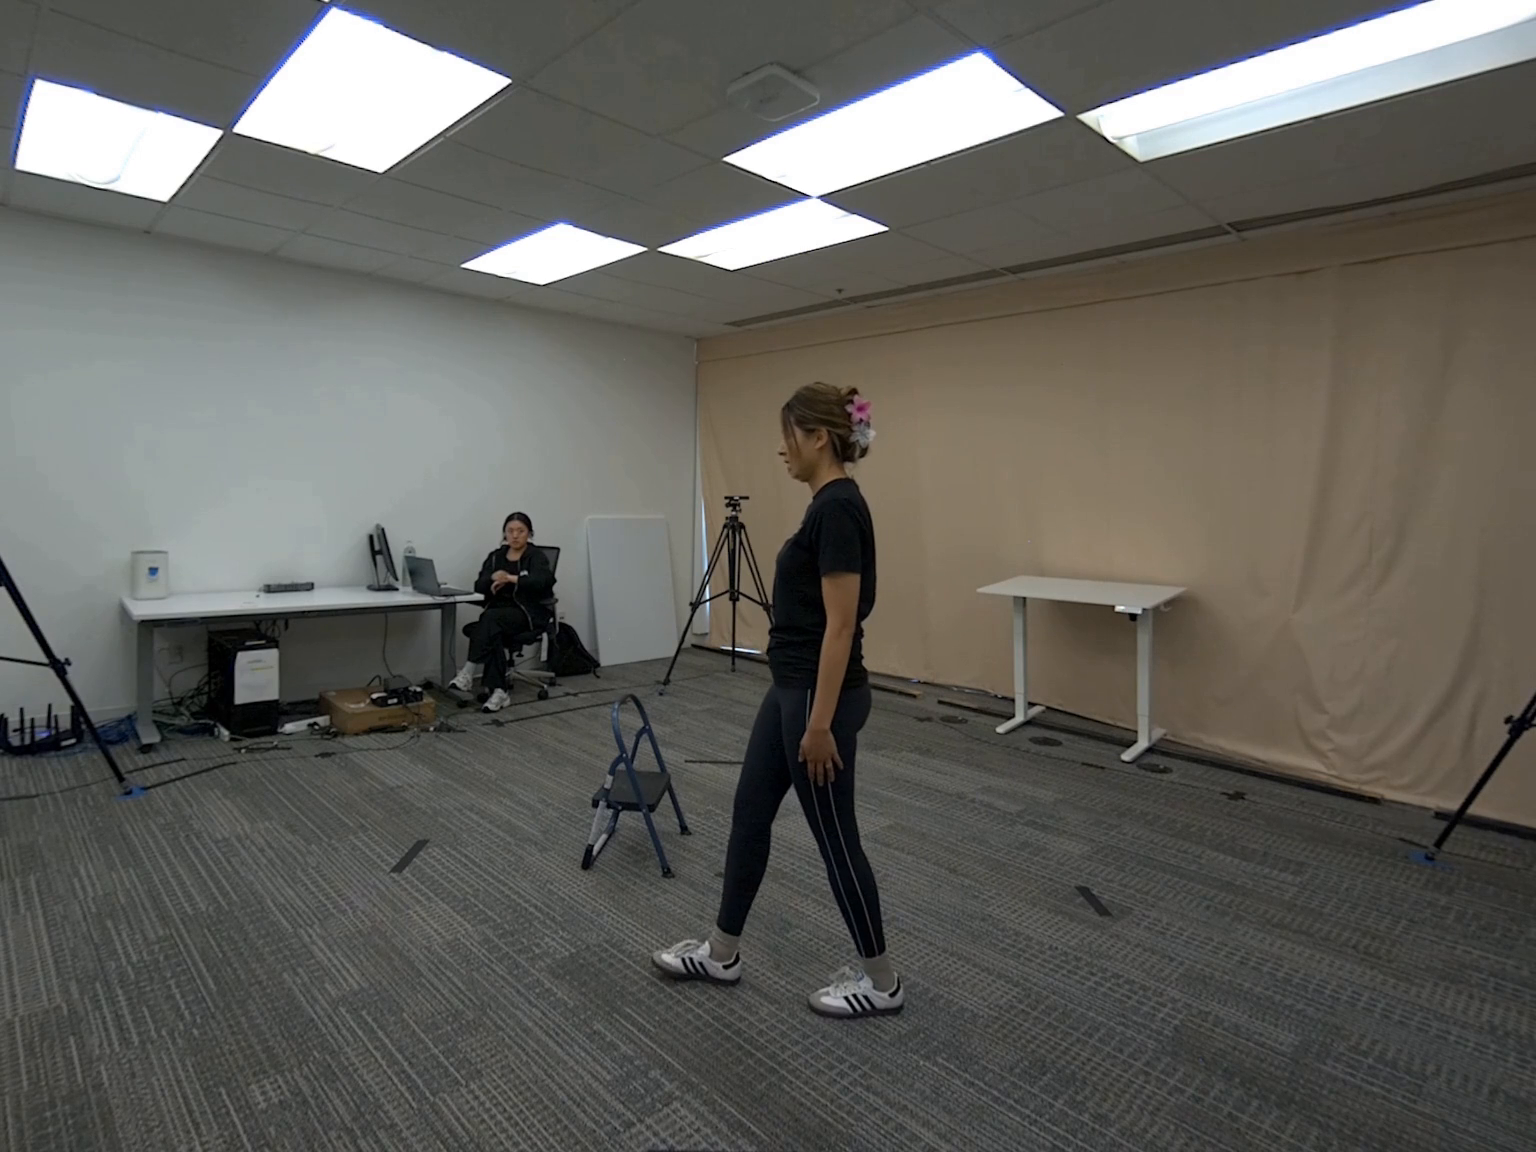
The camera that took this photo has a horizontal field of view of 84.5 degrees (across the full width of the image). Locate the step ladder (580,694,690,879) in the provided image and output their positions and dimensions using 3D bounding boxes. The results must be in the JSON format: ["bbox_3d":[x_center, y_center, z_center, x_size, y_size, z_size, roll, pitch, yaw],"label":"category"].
[{"bbox_3d":[-0.505,0.777,3.282,0.350,0.604,0.430,3,4,4],"label":"step ladder"}]
